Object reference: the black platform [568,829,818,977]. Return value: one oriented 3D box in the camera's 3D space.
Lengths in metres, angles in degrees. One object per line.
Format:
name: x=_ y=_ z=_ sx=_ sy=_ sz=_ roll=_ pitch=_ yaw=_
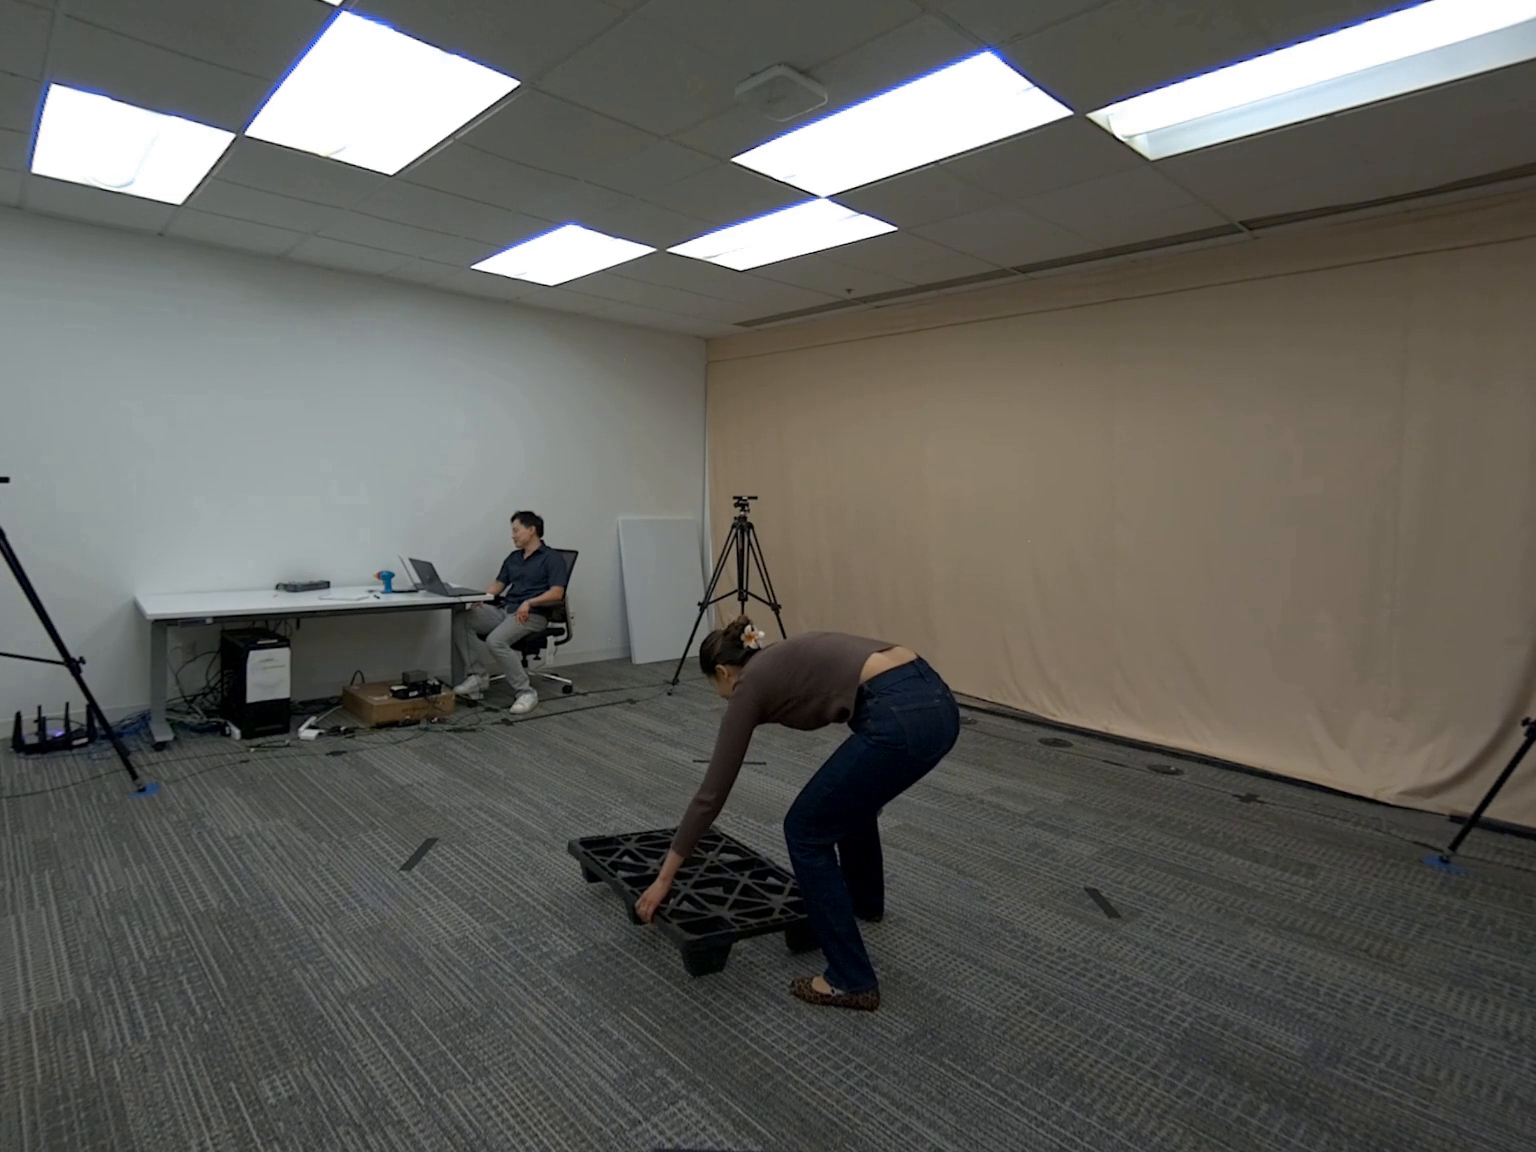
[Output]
black platform: x=-0.237 y=1.041 z=2.782 sx=0.590 sy=0.143 sz=0.826 roll=6 pitch=2 yaw=-36
